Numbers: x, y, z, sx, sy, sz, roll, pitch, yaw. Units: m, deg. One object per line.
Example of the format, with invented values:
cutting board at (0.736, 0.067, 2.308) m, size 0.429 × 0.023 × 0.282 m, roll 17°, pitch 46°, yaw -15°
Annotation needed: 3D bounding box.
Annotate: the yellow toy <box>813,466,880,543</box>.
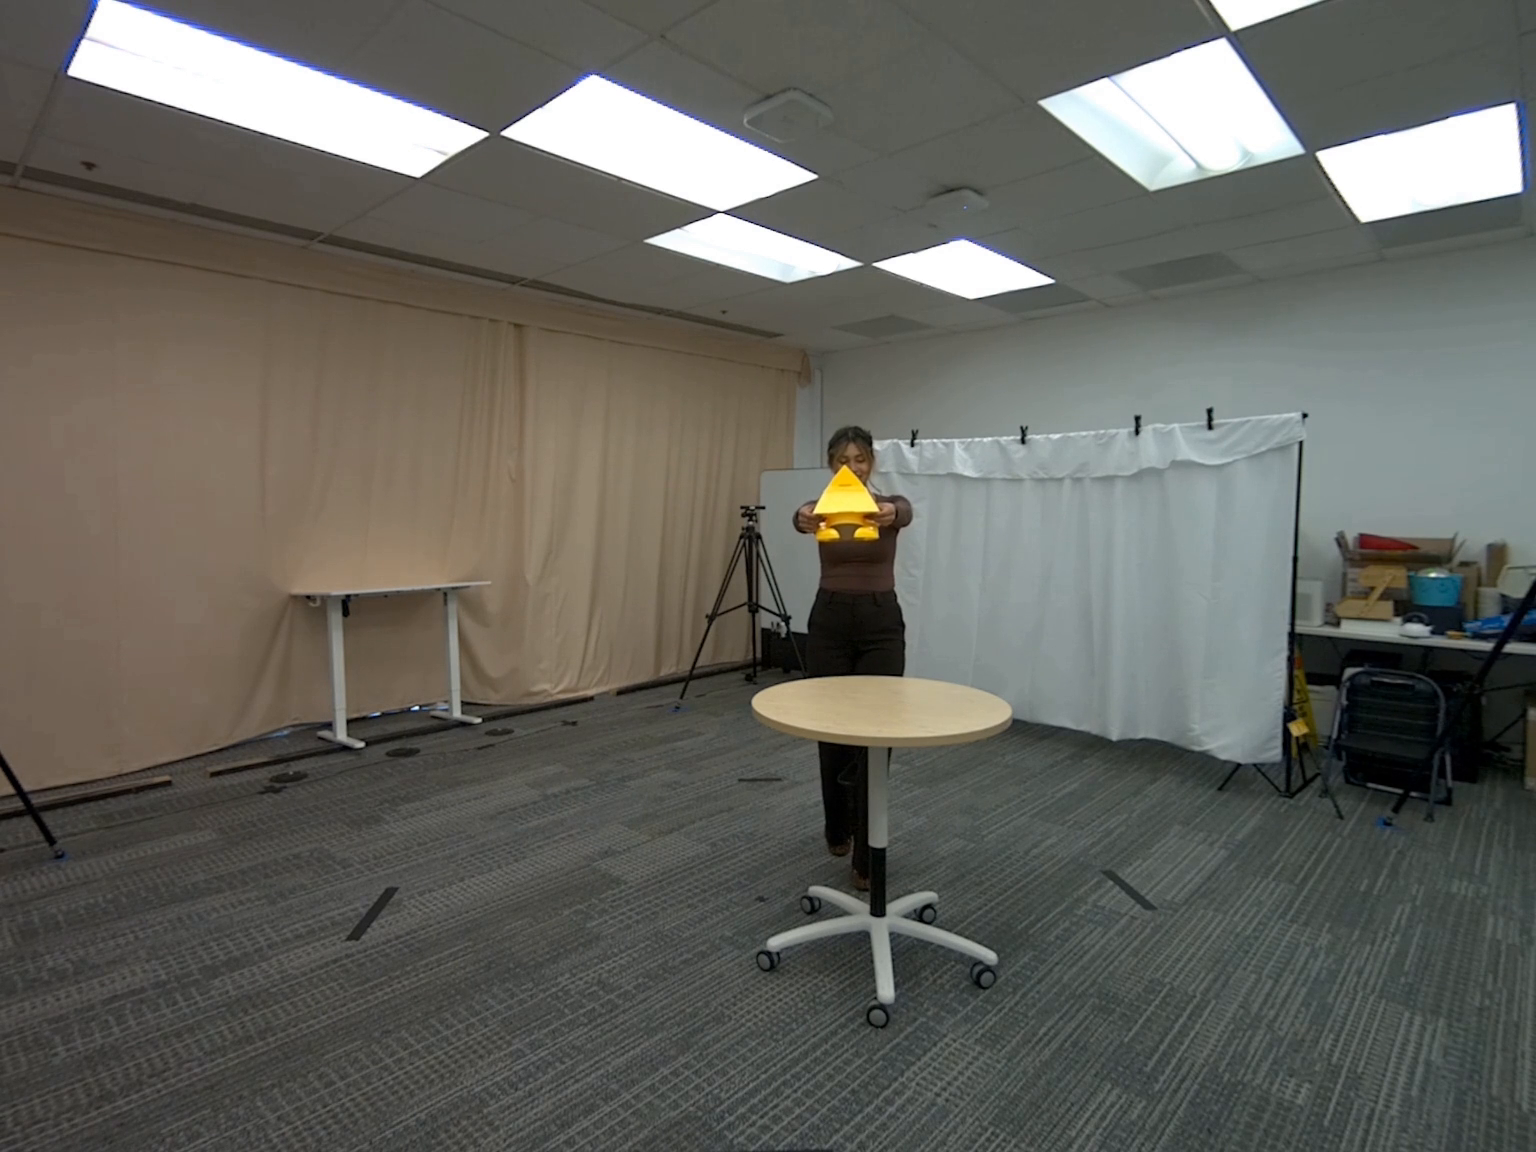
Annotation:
yellow toy at (0.247, -0.233, 2.713) m, size 0.207 × 0.231 × 0.191 m, roll -1°, pitch -1°, yaw 8°
